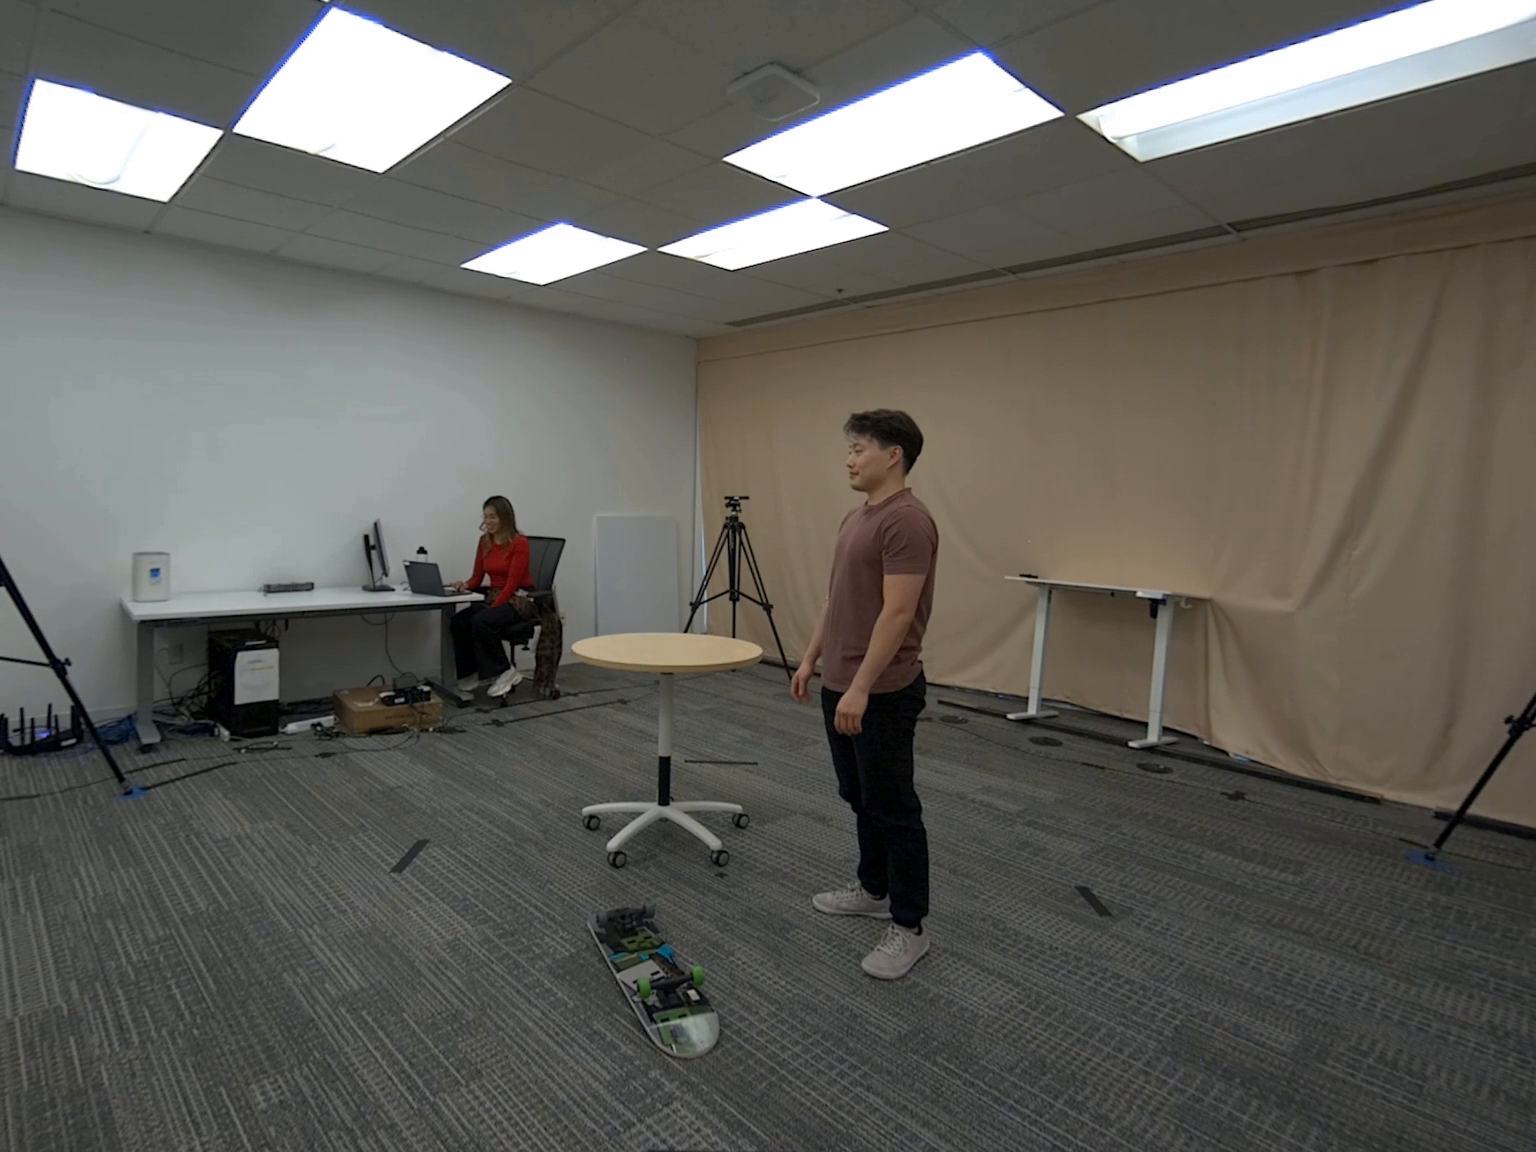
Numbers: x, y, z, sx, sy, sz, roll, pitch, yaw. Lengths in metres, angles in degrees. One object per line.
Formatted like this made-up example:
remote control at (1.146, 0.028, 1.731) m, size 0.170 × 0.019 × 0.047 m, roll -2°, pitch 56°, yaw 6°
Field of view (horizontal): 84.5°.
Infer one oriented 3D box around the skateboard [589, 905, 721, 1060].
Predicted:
skateboard at (-0.354, 1.100, 2.449) m, size 0.190 × 0.110 × 0.802 m, roll -1°, pitch 6°, yaw -27°
